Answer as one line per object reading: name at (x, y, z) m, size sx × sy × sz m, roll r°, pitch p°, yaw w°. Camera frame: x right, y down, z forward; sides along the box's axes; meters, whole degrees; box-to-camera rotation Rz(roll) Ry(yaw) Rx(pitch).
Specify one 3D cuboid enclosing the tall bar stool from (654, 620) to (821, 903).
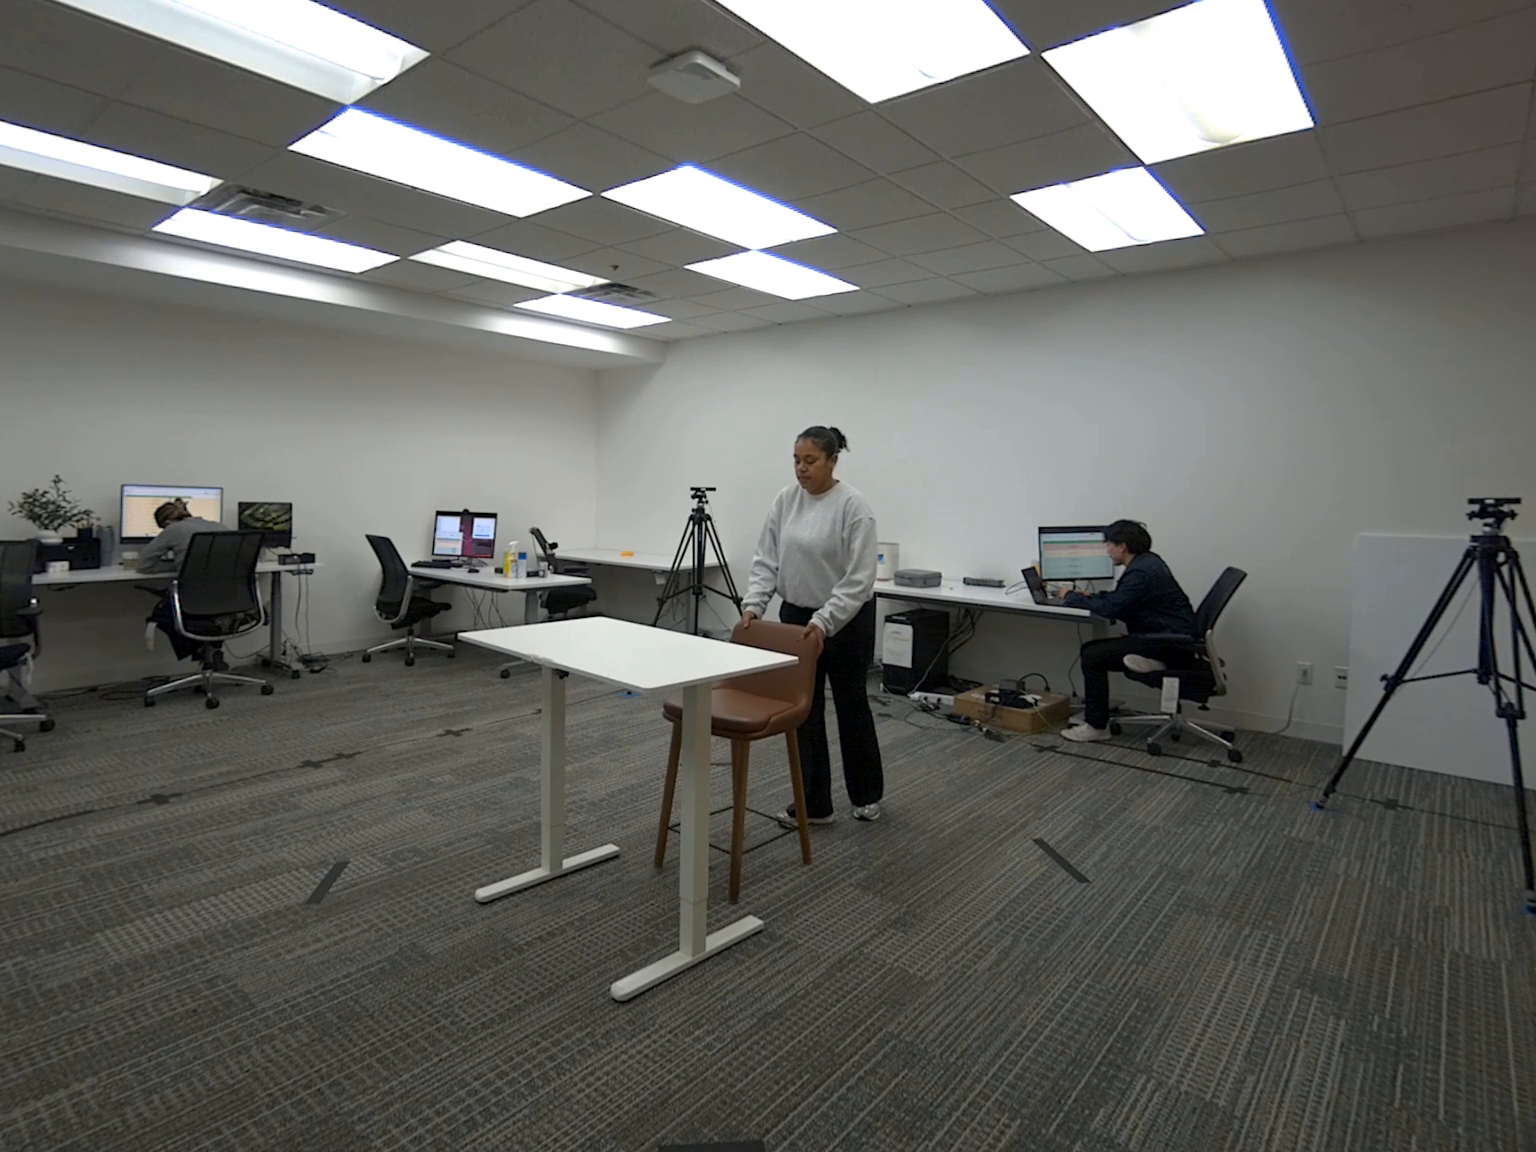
tall bar stool at (-0.115, 0.627, 3.123) m, size 0.472 × 0.889 × 0.453 m, roll 4°, pitch 2°, yaw 42°
